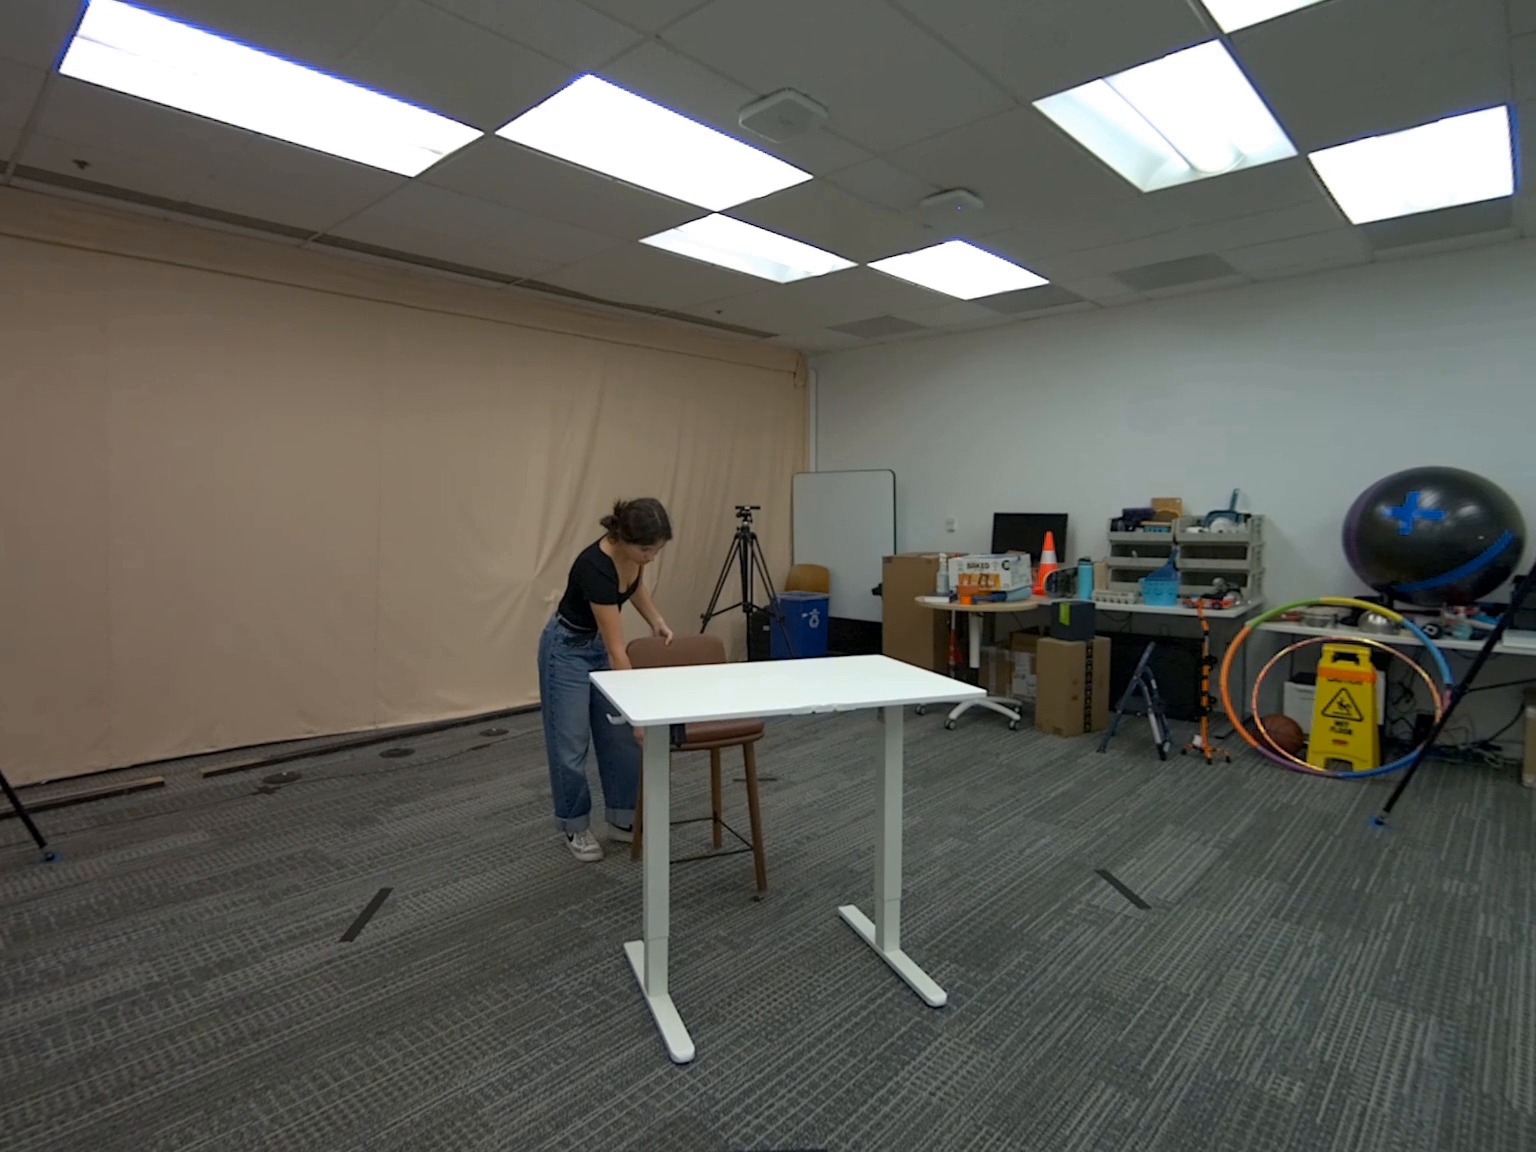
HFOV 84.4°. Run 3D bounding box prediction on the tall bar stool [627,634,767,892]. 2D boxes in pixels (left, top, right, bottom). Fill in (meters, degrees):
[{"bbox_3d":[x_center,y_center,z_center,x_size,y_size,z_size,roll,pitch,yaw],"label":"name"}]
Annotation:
[{"bbox_3d":[-0.279,0.692,3.162,0.447,0.889,0.478,-2,1,-22],"label":"tall bar stool"}]
